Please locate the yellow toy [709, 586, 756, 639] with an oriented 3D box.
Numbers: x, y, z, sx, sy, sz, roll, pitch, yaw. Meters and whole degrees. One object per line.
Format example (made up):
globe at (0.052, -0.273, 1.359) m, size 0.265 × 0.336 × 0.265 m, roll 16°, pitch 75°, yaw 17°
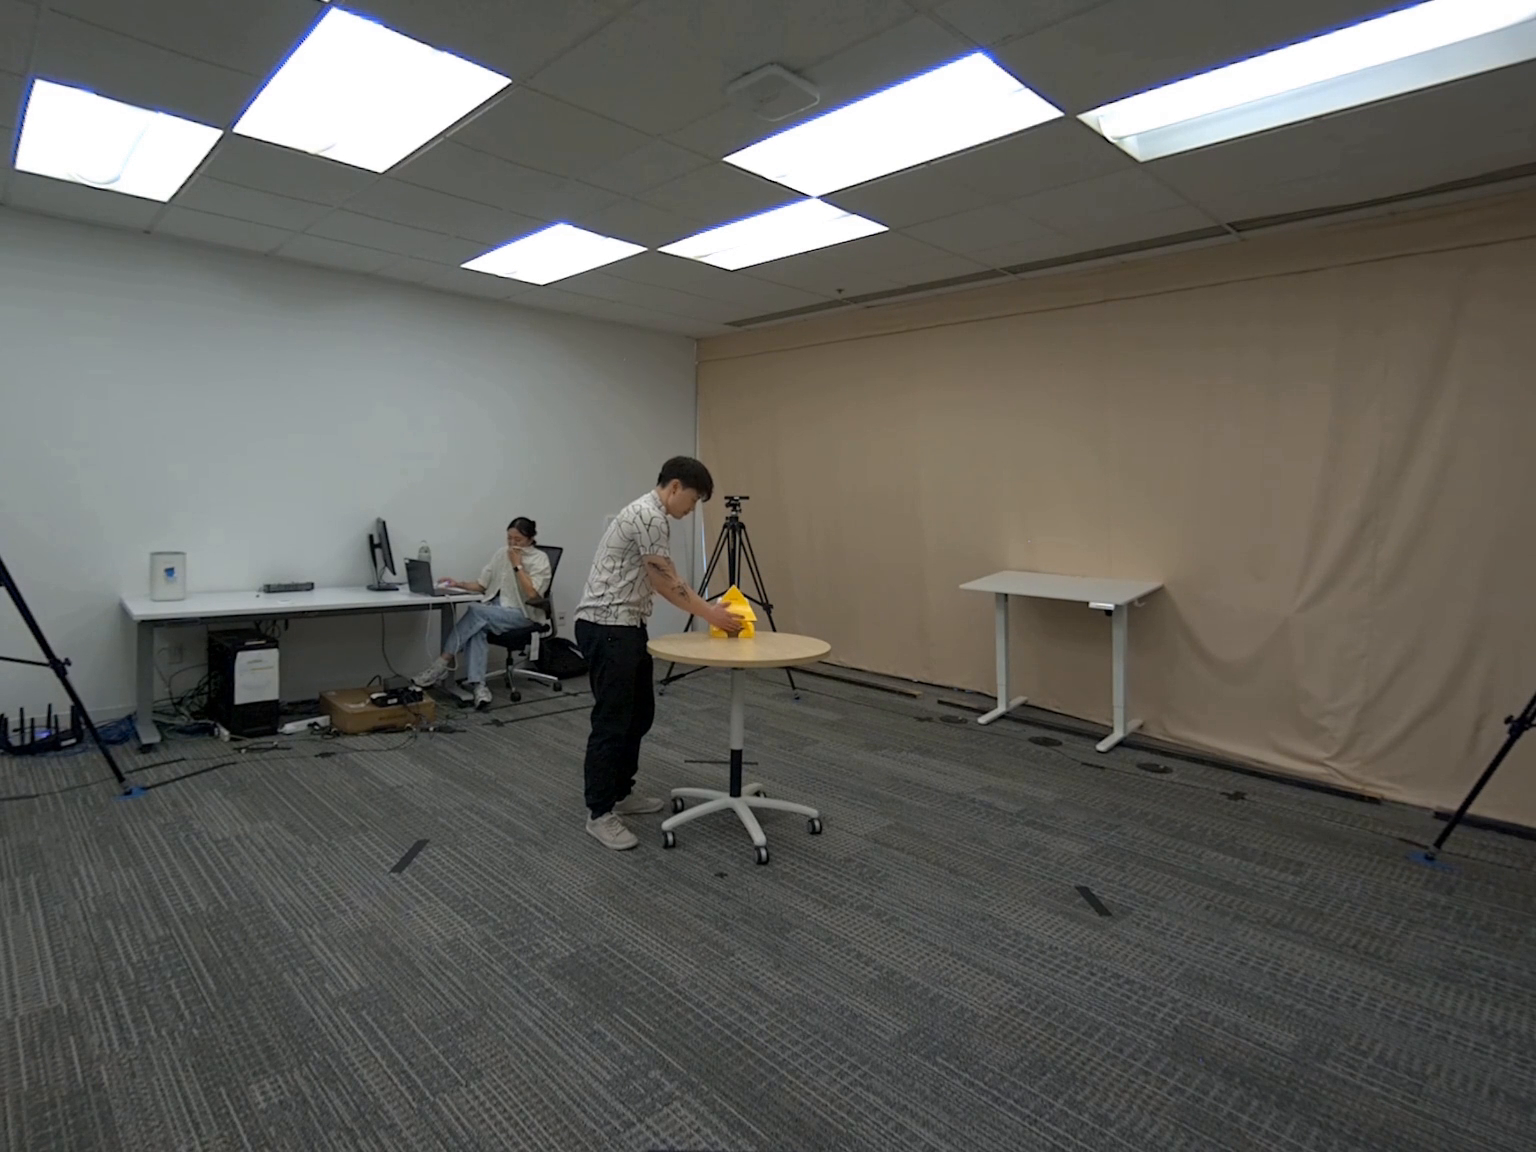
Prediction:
yellow toy at (-0.173, 0.146, 3.756) m, size 0.204 × 0.230 × 0.194 m, roll 1°, pitch 6°, yaw -5°
